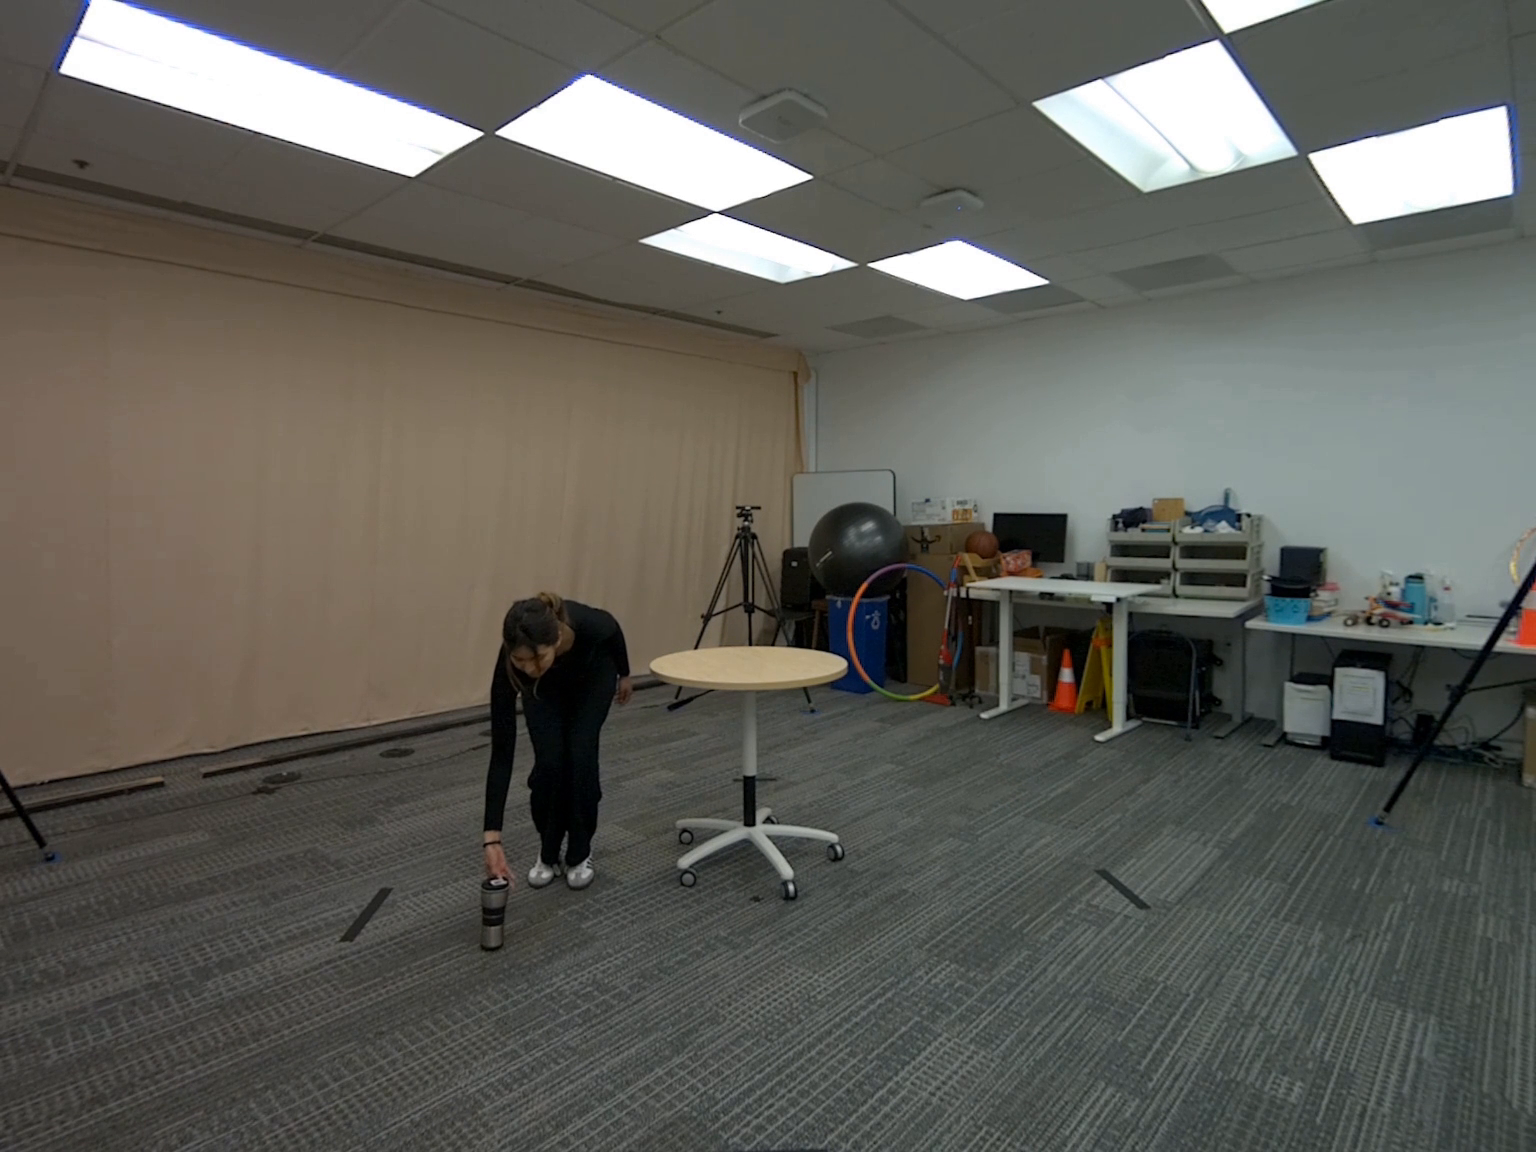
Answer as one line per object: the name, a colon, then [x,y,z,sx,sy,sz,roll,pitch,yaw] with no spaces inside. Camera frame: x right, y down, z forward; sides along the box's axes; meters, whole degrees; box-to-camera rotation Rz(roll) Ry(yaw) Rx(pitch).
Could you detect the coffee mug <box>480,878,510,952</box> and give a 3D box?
coffee mug: [-0.859,1.071,2.686,0.118,0.203,0.090,-2,-2,-41]
